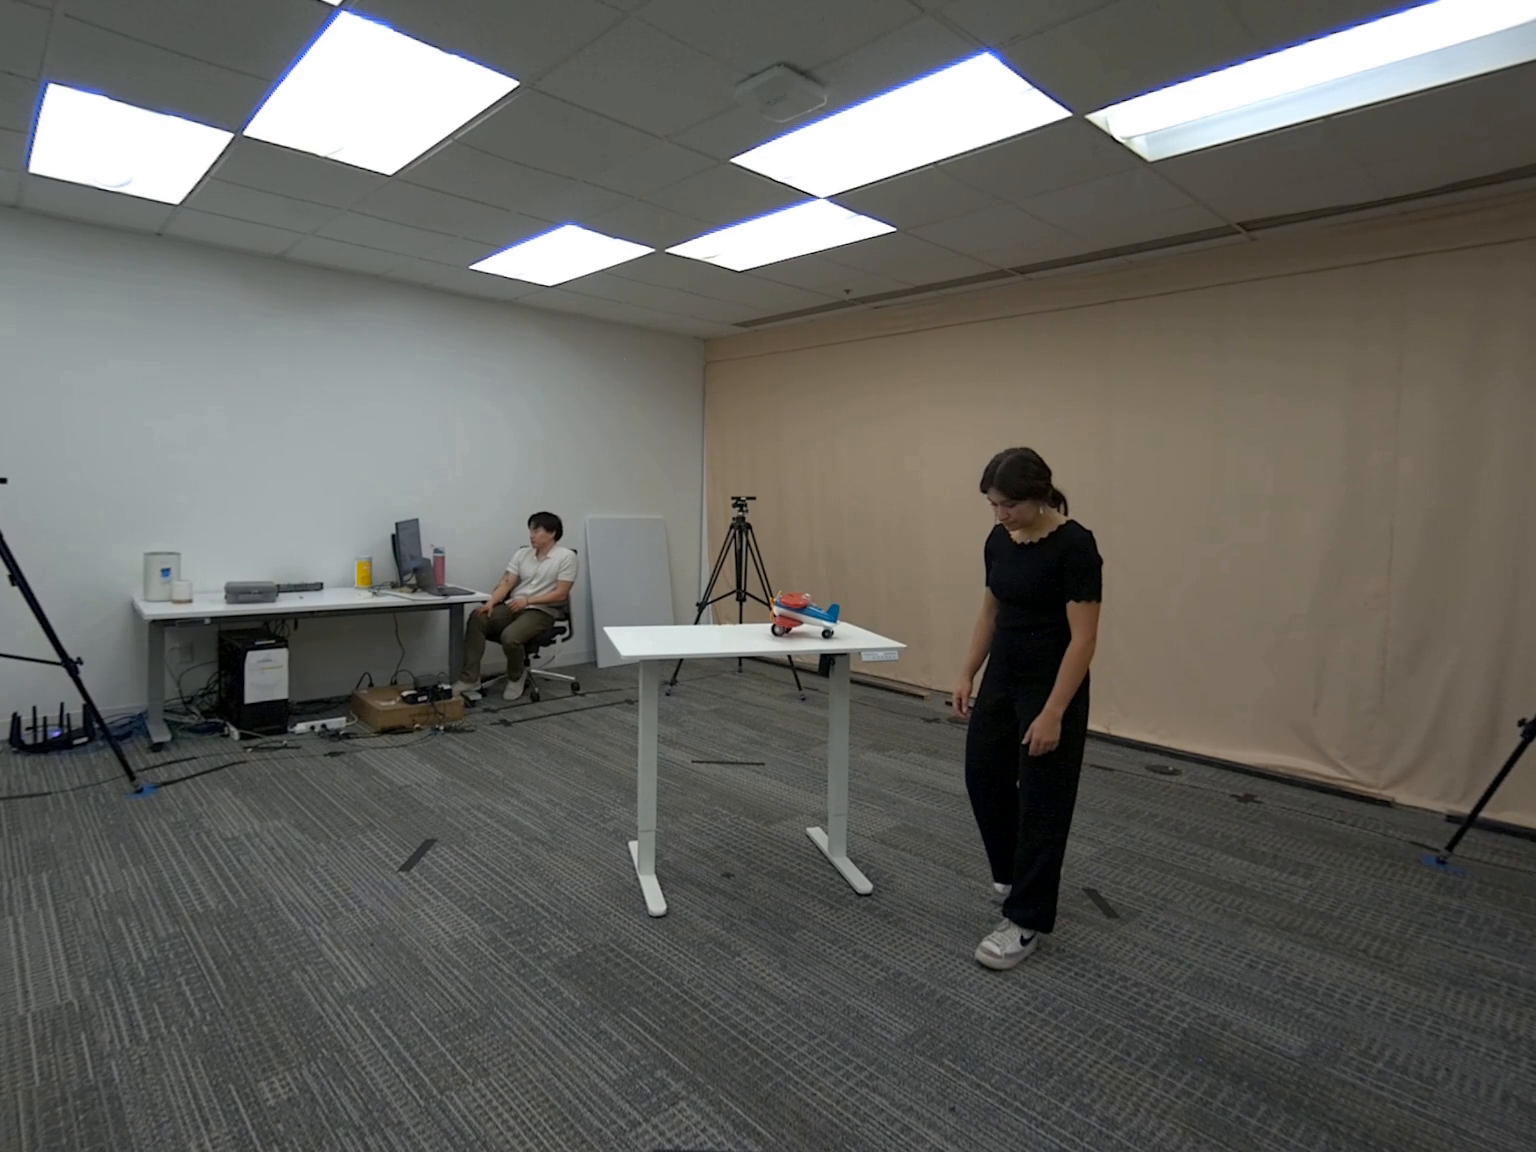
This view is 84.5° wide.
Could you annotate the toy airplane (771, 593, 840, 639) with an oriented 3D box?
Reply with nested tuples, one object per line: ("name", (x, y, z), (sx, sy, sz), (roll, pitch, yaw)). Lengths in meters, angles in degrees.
("toy airplane", (0.130, 0.148, 3.146), (0.257, 0.156, 0.254), (0, 6, -10))
